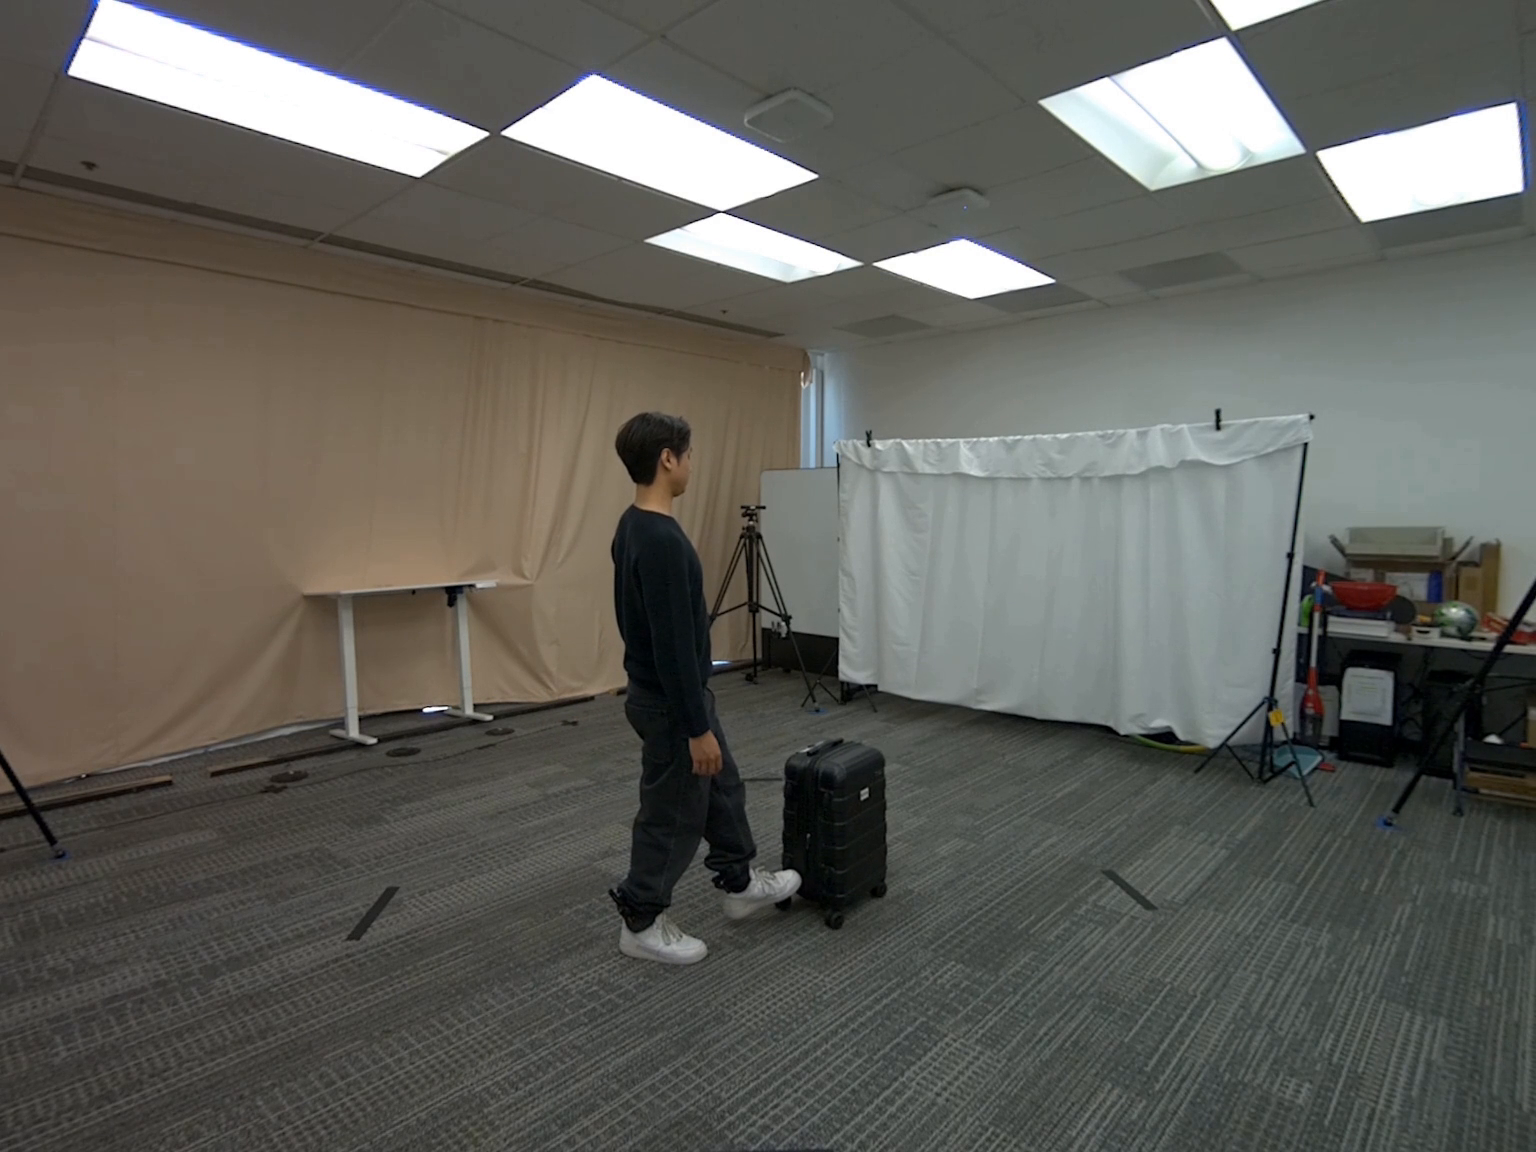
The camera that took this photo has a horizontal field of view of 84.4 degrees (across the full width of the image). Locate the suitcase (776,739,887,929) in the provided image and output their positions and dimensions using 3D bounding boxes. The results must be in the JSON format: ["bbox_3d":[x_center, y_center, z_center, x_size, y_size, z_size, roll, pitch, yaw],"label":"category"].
[{"bbox_3d":[0.242,0.871,2.962,0.256,0.548,0.364,3,4,38],"label":"suitcase"}]
